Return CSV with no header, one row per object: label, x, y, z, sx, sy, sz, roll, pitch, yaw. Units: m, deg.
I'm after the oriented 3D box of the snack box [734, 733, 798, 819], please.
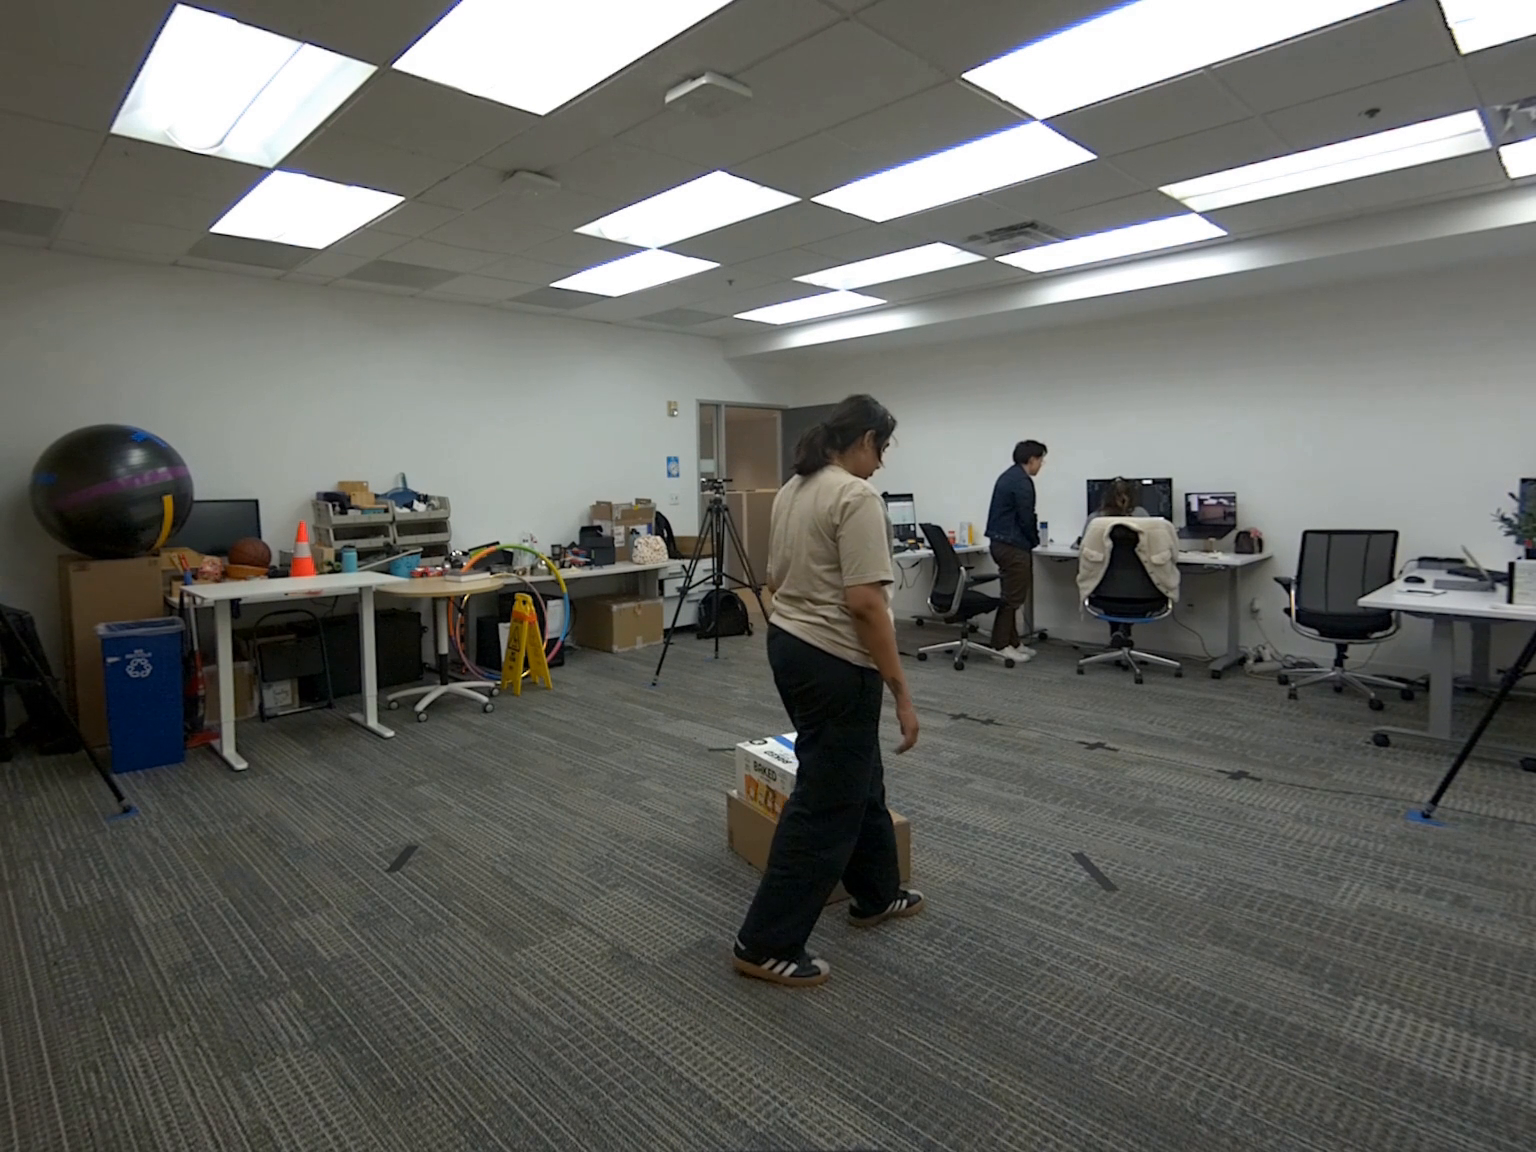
snack box,0.135,0.731,3.083,0.332,0.205,0.417,-4,7,-31
